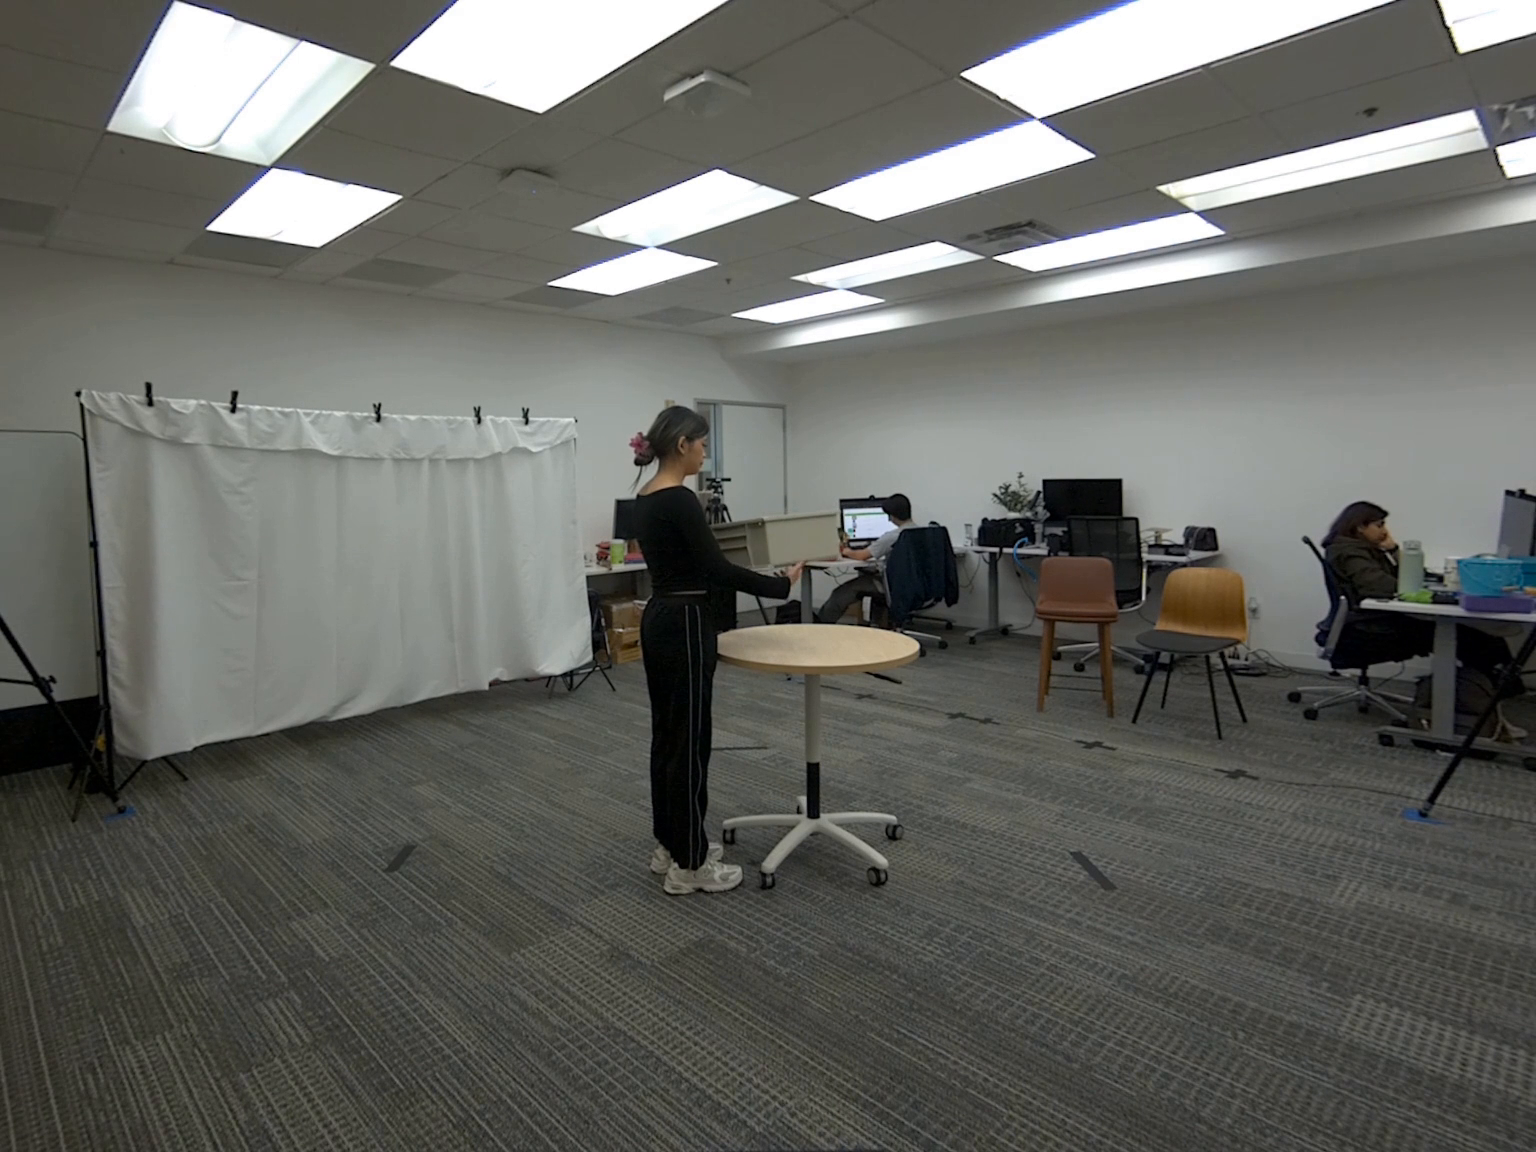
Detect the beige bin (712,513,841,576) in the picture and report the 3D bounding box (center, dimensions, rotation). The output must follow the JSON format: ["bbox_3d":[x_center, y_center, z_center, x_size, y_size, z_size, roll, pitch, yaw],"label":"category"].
[{"bbox_3d":[0.005,-0.114,3.134,0.387,0.189,0.411,-4,2,45],"label":"beige bin"}]
